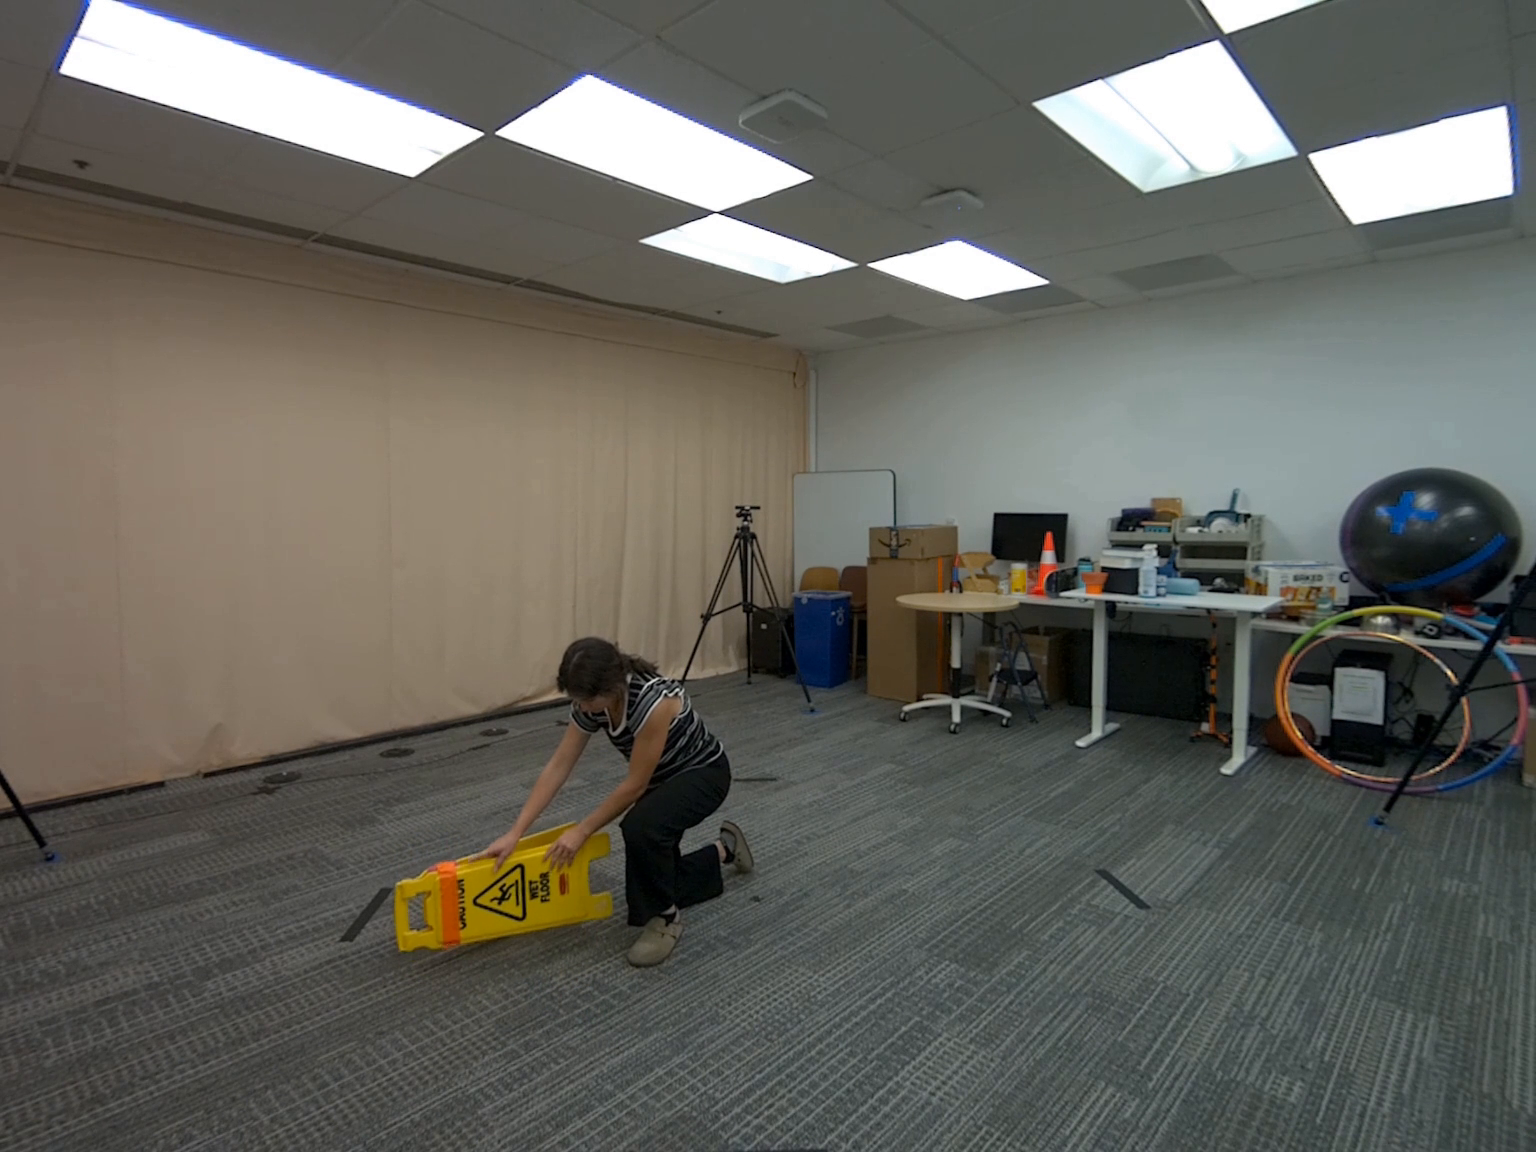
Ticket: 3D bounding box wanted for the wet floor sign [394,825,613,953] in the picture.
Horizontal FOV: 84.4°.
[{"bbox_3d":[-0.852,1.006,2.678,0.627,0.283,0.297,-2,-4,-34],"label":"wet floor sign"}]
